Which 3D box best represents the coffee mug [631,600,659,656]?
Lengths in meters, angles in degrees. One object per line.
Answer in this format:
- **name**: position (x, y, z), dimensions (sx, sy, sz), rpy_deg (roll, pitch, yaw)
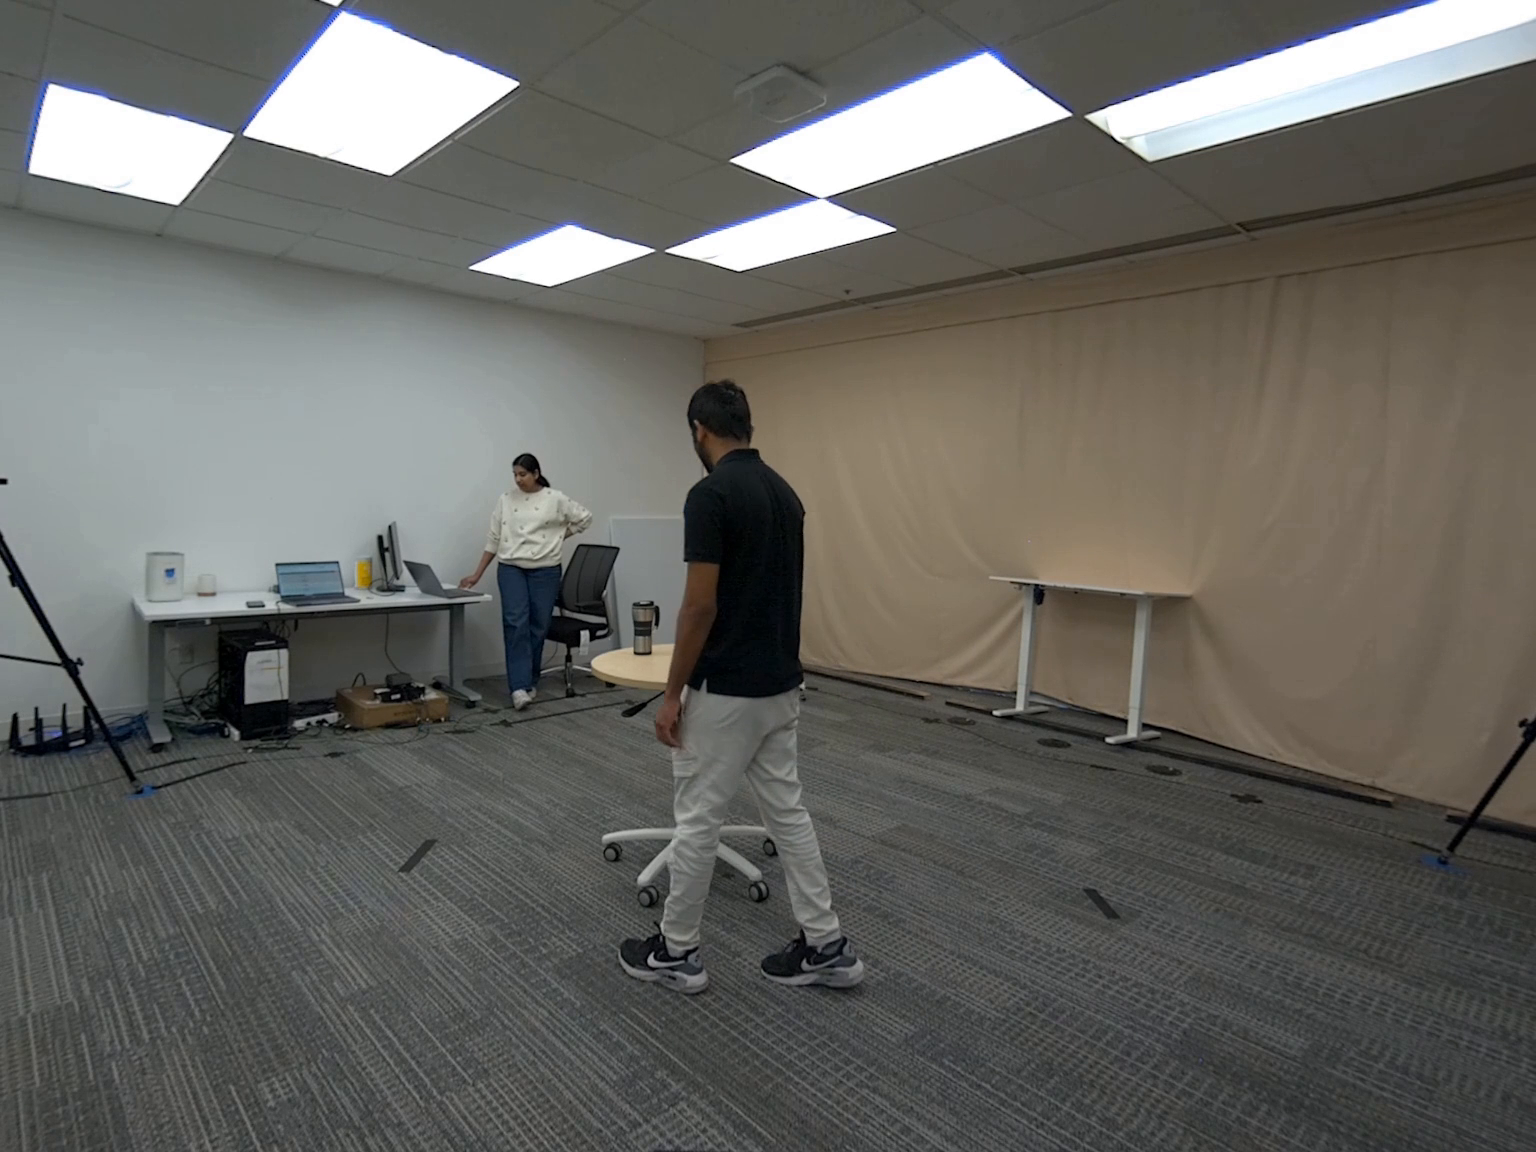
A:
- **coffee mug**: position (-0.477, 0.203, 3.277), dimensions (0.120, 0.203, 0.089), rpy_deg (-3, 1, -26)
